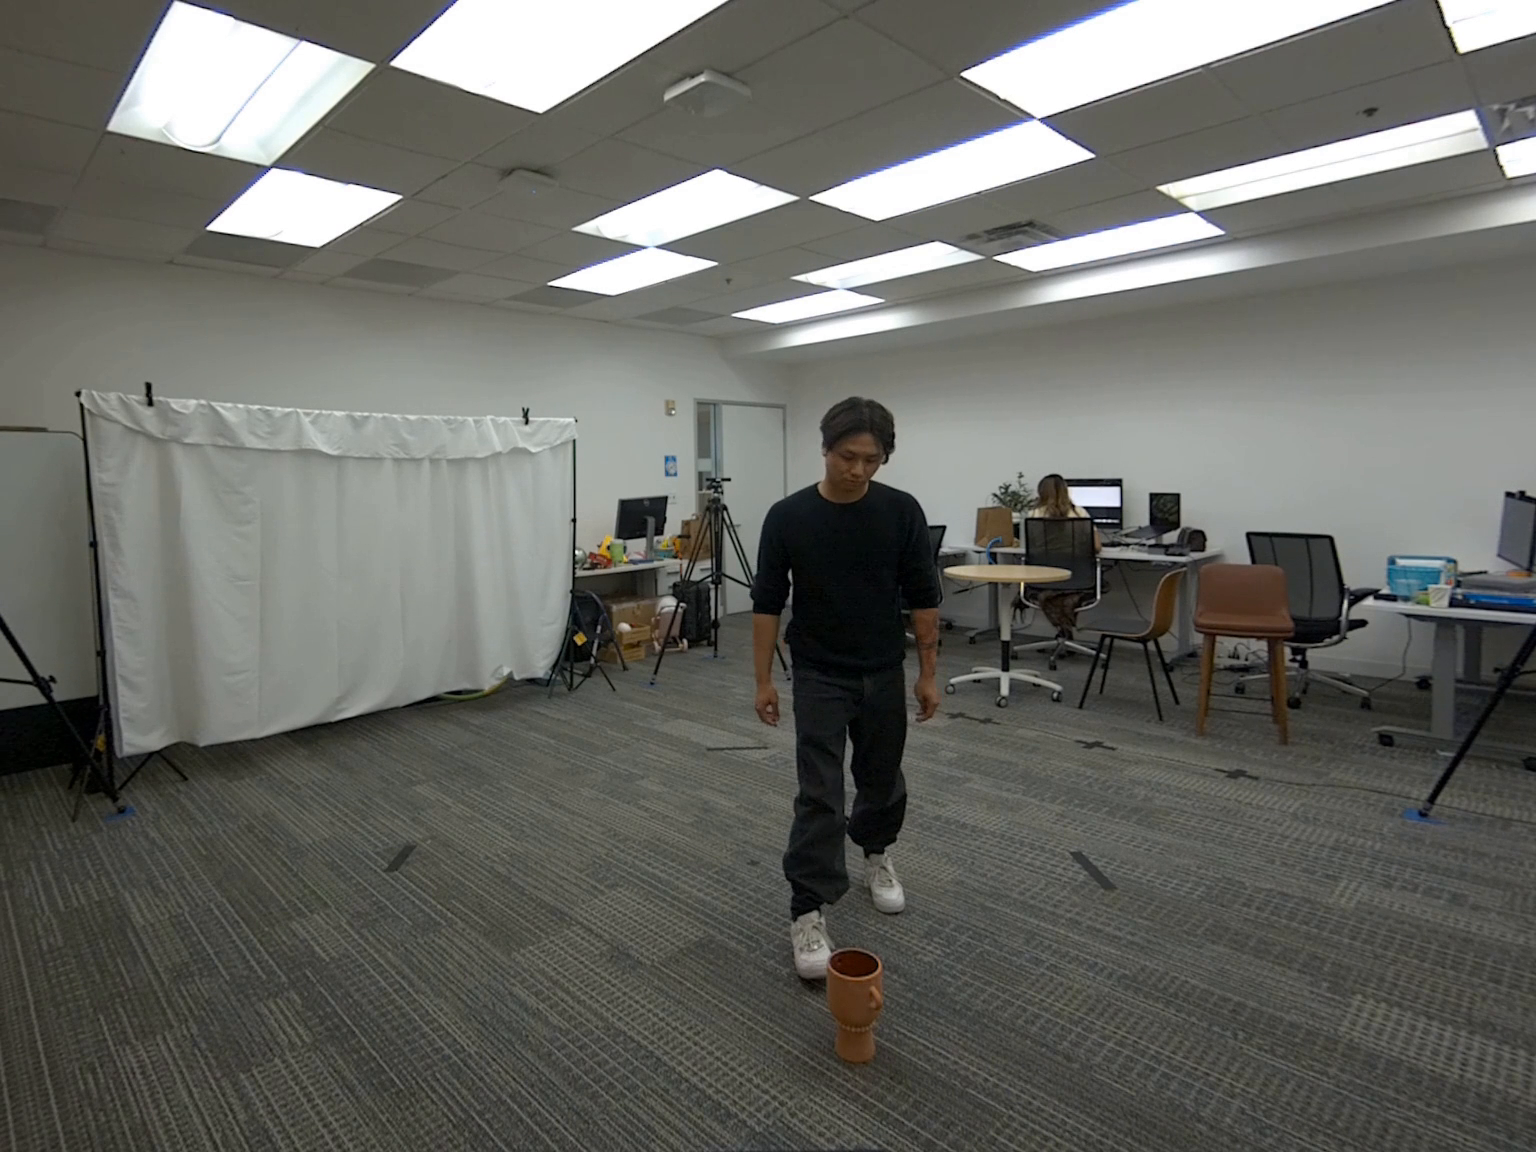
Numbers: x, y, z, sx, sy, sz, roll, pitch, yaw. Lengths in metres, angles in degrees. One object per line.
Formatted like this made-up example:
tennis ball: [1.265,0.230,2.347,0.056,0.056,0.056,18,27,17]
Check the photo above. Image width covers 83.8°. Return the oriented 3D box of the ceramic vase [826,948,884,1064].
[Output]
ceramic vase: [0.217,1.050,2.075,0.136,0.219,0.158,-2,4,8]
